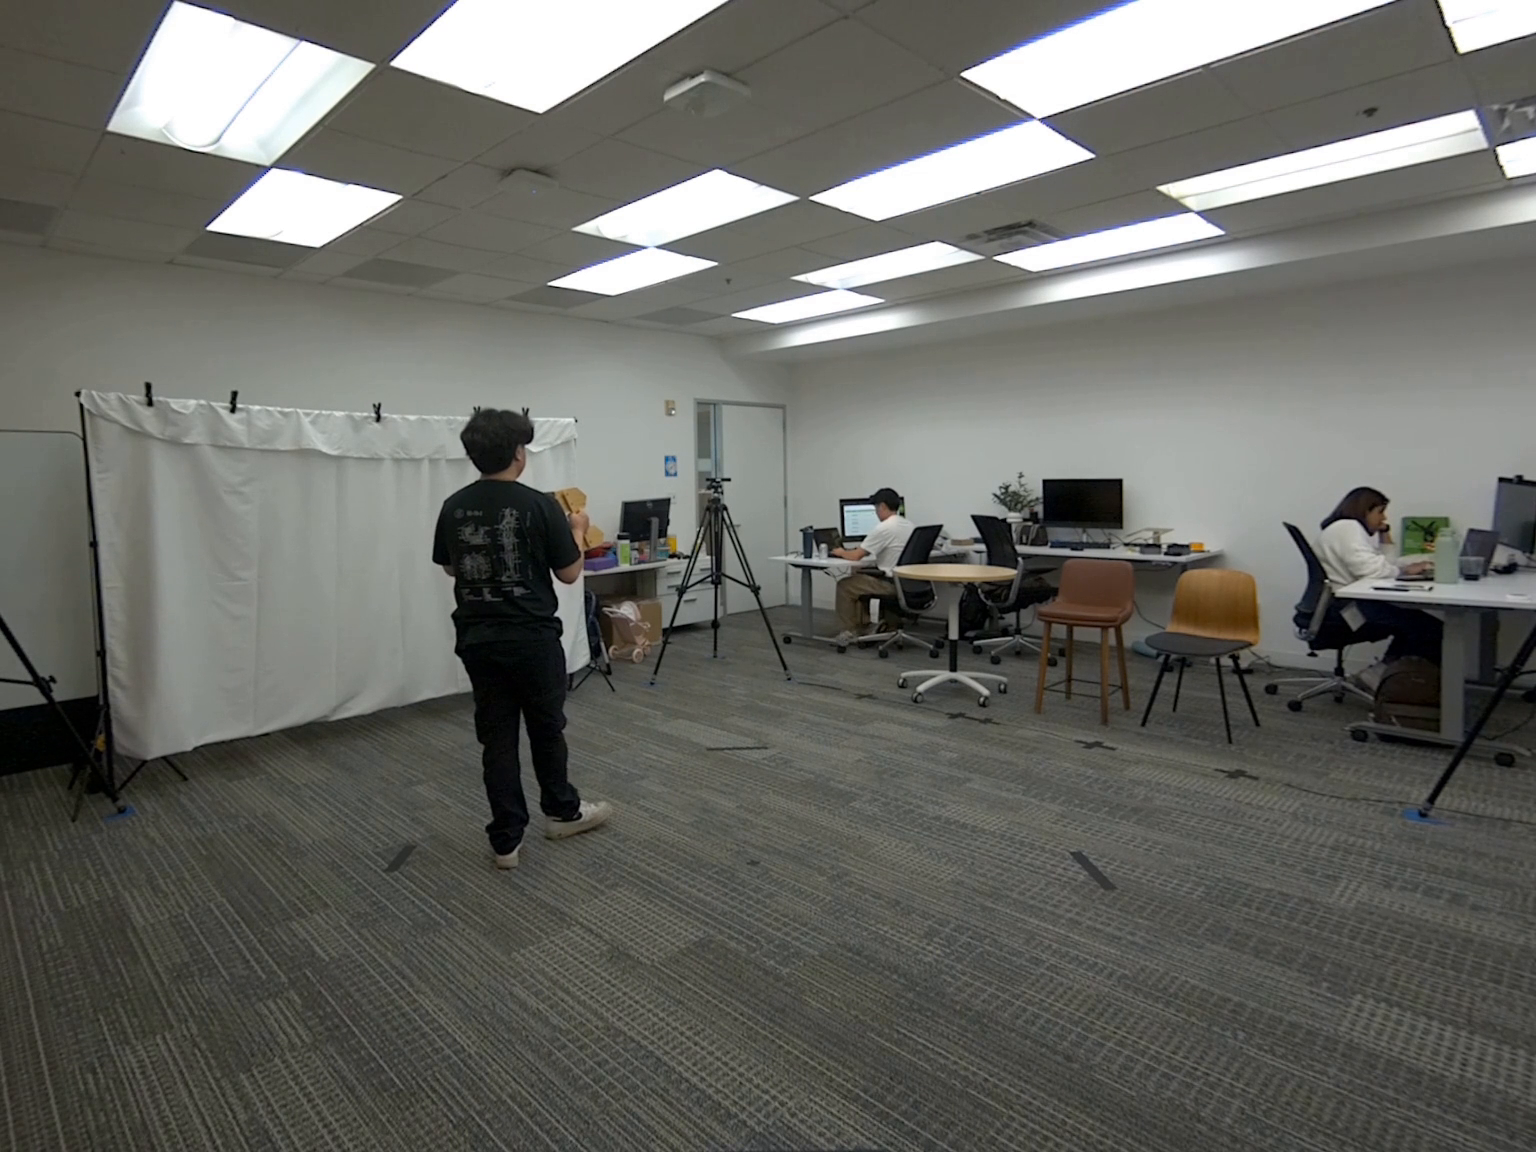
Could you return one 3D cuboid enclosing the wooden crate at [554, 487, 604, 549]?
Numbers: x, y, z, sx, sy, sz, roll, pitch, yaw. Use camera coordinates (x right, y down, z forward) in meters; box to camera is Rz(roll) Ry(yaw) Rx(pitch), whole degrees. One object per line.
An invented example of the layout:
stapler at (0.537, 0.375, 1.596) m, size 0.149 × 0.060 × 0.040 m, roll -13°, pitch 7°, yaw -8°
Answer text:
wooden crate at (-0.899, -0.232, 3.505) m, size 0.331 × 0.271 × 0.299 m, roll -3°, pitch 11°, yaw 24°
